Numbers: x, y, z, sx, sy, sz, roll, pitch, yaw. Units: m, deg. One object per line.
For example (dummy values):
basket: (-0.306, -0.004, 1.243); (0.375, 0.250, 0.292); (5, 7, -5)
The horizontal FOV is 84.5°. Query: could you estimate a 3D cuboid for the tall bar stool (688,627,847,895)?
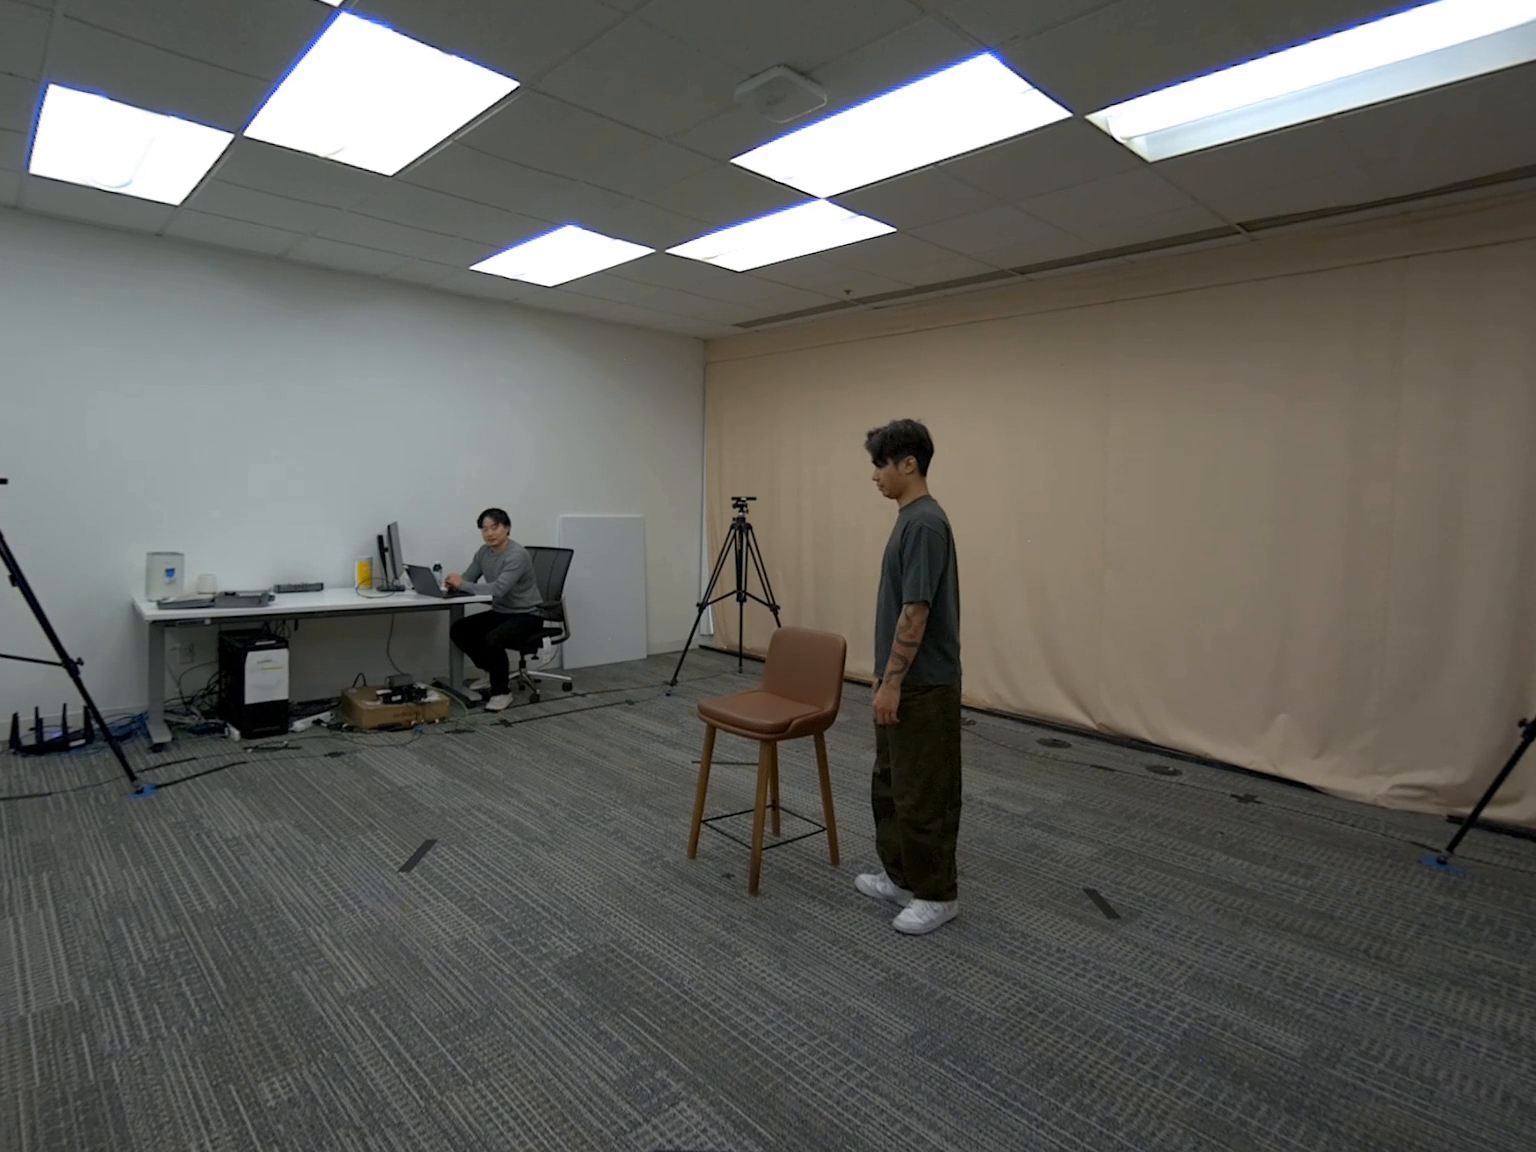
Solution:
tall bar stool: (-0.006, 0.666, 3.222); (0.456, 0.888, 0.468); (1, 3, -39)
